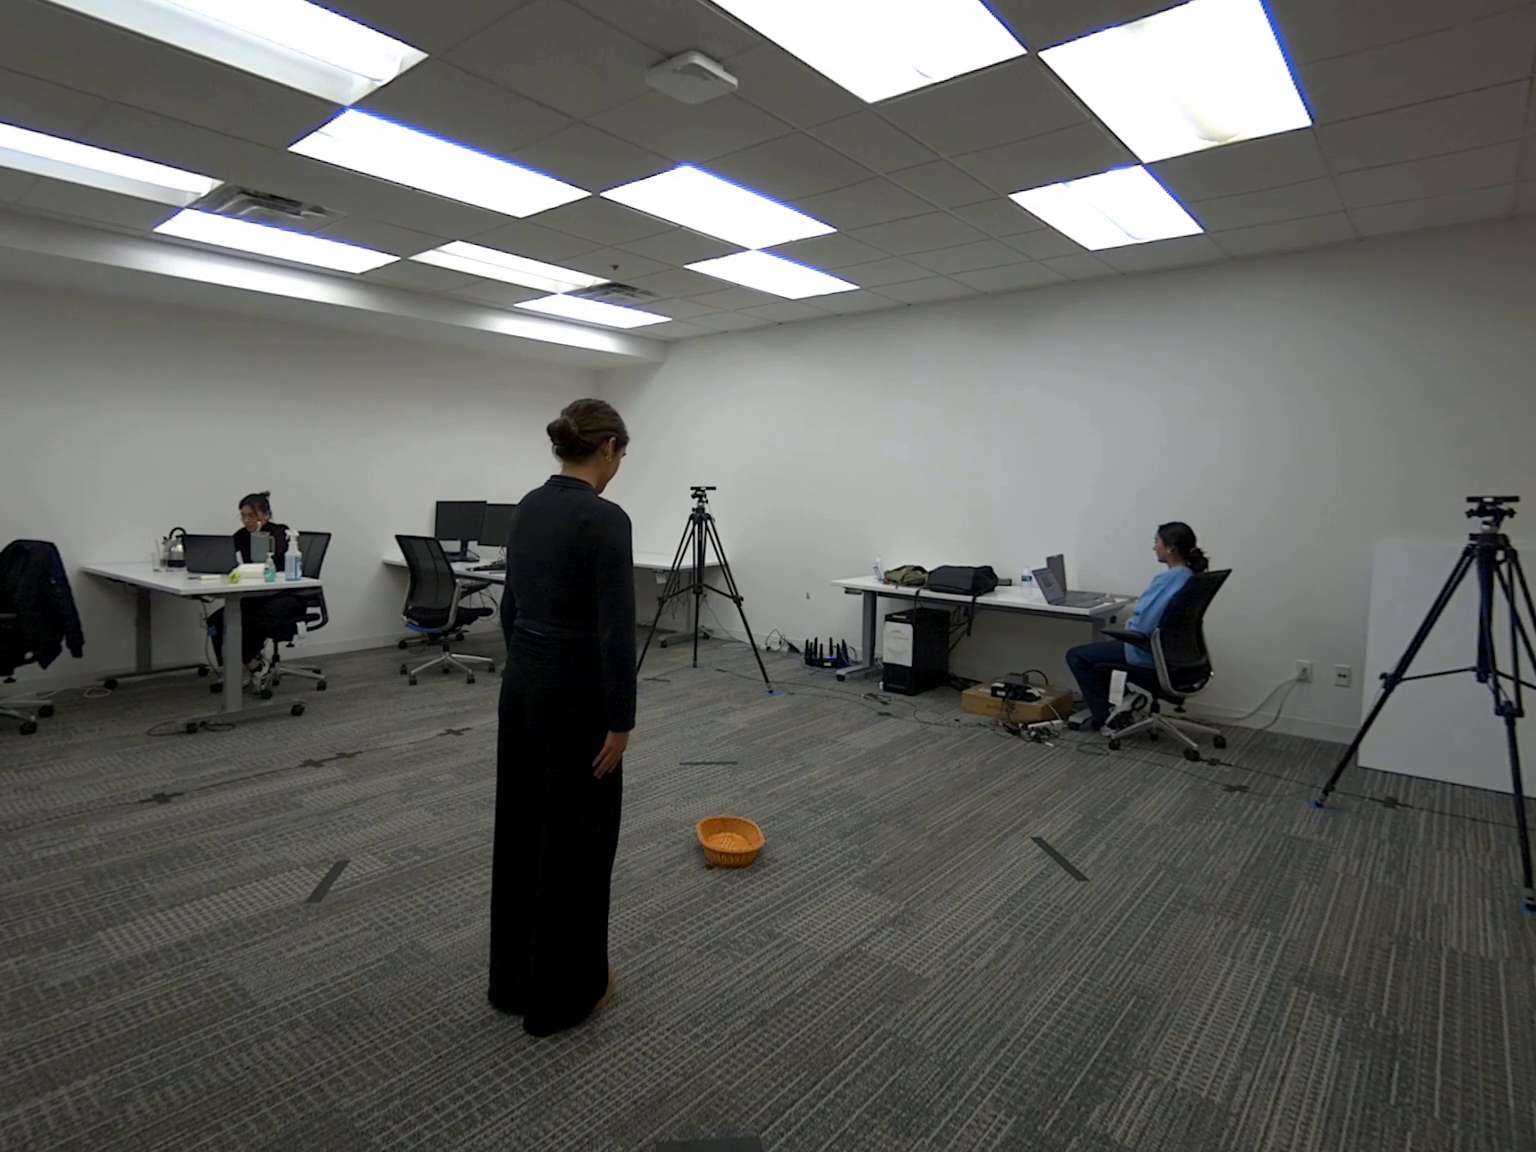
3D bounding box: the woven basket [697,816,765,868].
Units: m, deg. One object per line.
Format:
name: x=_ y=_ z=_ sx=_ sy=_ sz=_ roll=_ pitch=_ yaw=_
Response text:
woven basket: x=-0.155 y=1.010 z=3.253 sx=0.249 sy=0.073 sz=0.356 roll=1 pitch=5 yaw=-12
